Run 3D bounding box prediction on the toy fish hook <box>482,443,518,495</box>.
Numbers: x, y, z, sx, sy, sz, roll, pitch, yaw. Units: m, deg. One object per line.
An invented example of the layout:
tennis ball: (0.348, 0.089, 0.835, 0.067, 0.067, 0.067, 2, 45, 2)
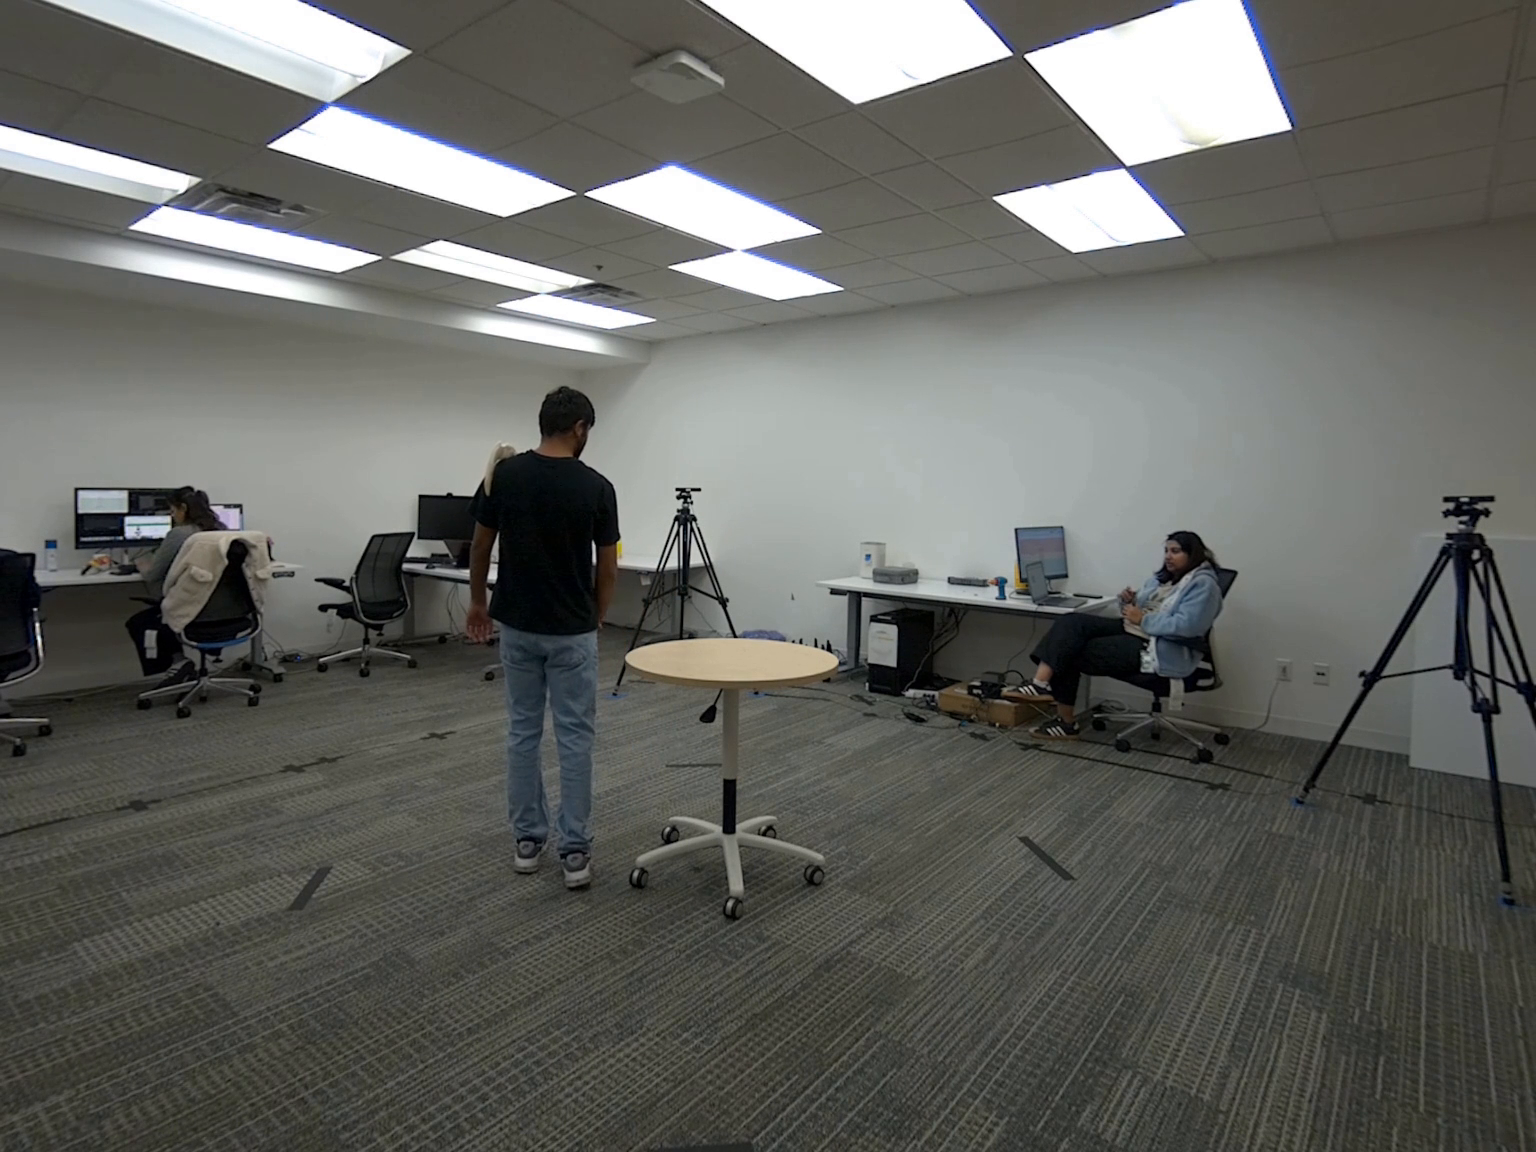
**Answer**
toy fish hook: (-0.973, -0.218, 3.057, 0.049, 0.505, 0.220, 3, 3, 18)
